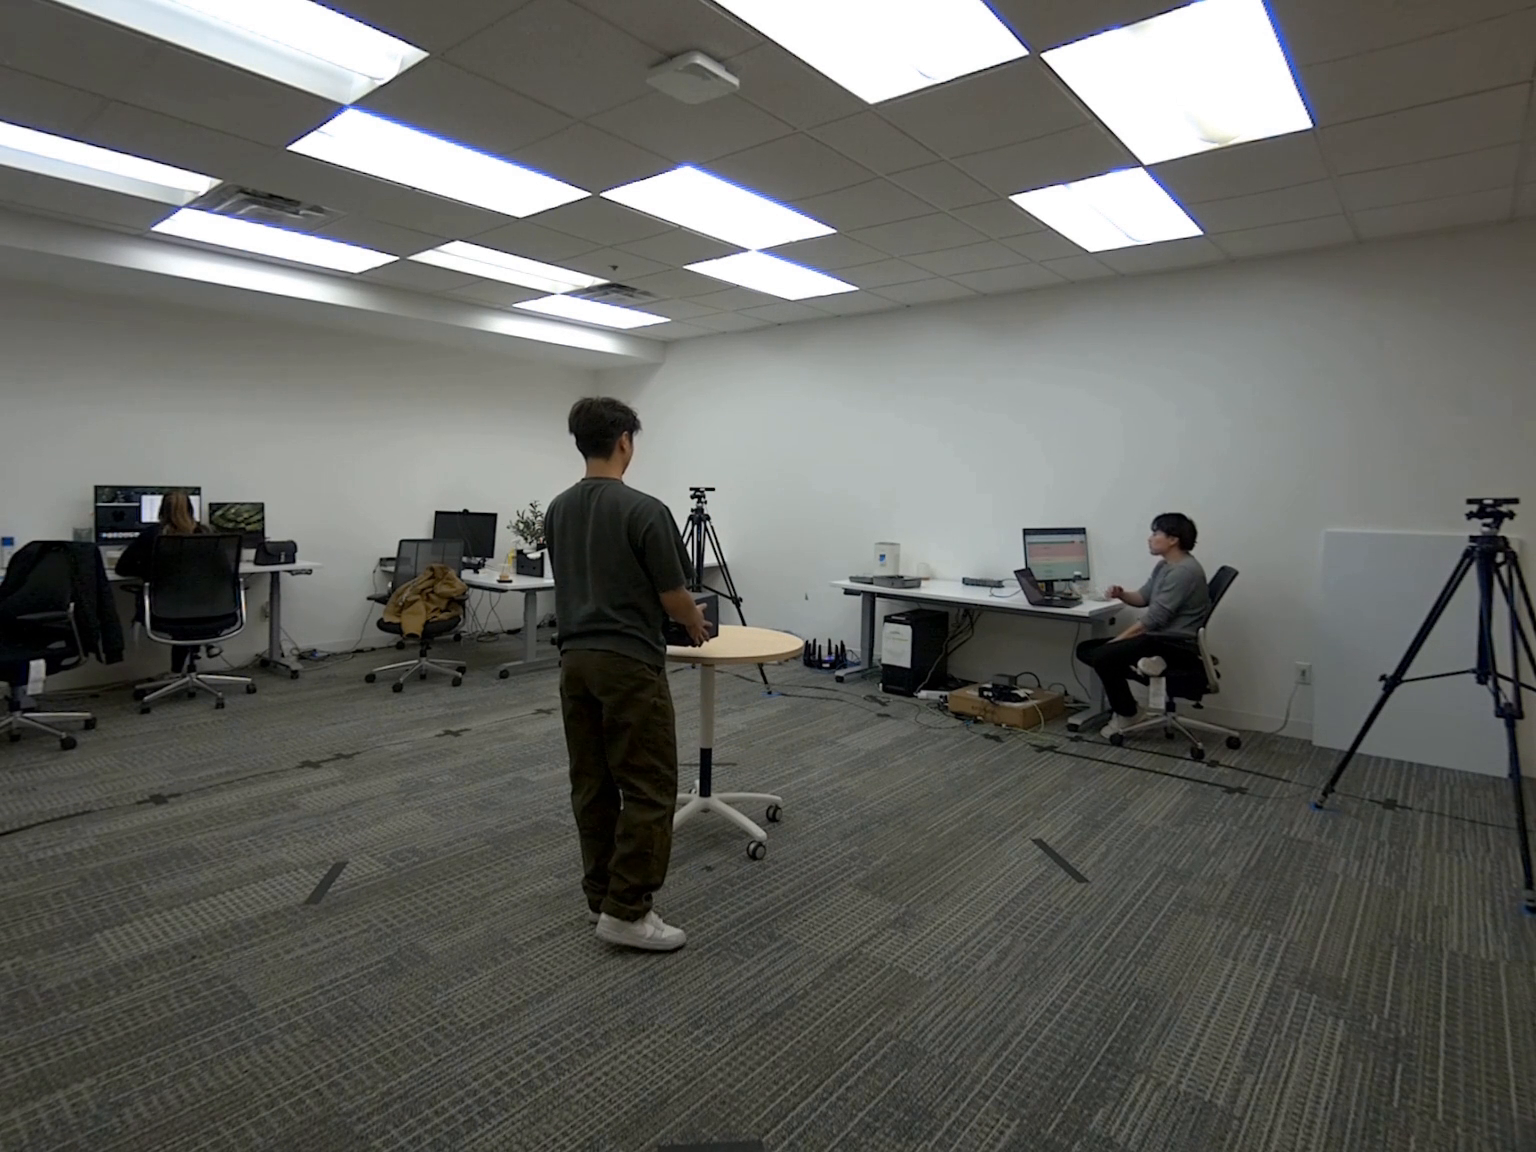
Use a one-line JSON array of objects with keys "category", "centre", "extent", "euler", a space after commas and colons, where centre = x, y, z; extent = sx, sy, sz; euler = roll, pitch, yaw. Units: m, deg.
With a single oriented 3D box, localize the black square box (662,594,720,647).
[{"category": "black square box", "centre": [-0.330, 0.150, 3.015], "extent": [0.223, 0.155, 0.223], "euler": [1, 6, 28]}]
